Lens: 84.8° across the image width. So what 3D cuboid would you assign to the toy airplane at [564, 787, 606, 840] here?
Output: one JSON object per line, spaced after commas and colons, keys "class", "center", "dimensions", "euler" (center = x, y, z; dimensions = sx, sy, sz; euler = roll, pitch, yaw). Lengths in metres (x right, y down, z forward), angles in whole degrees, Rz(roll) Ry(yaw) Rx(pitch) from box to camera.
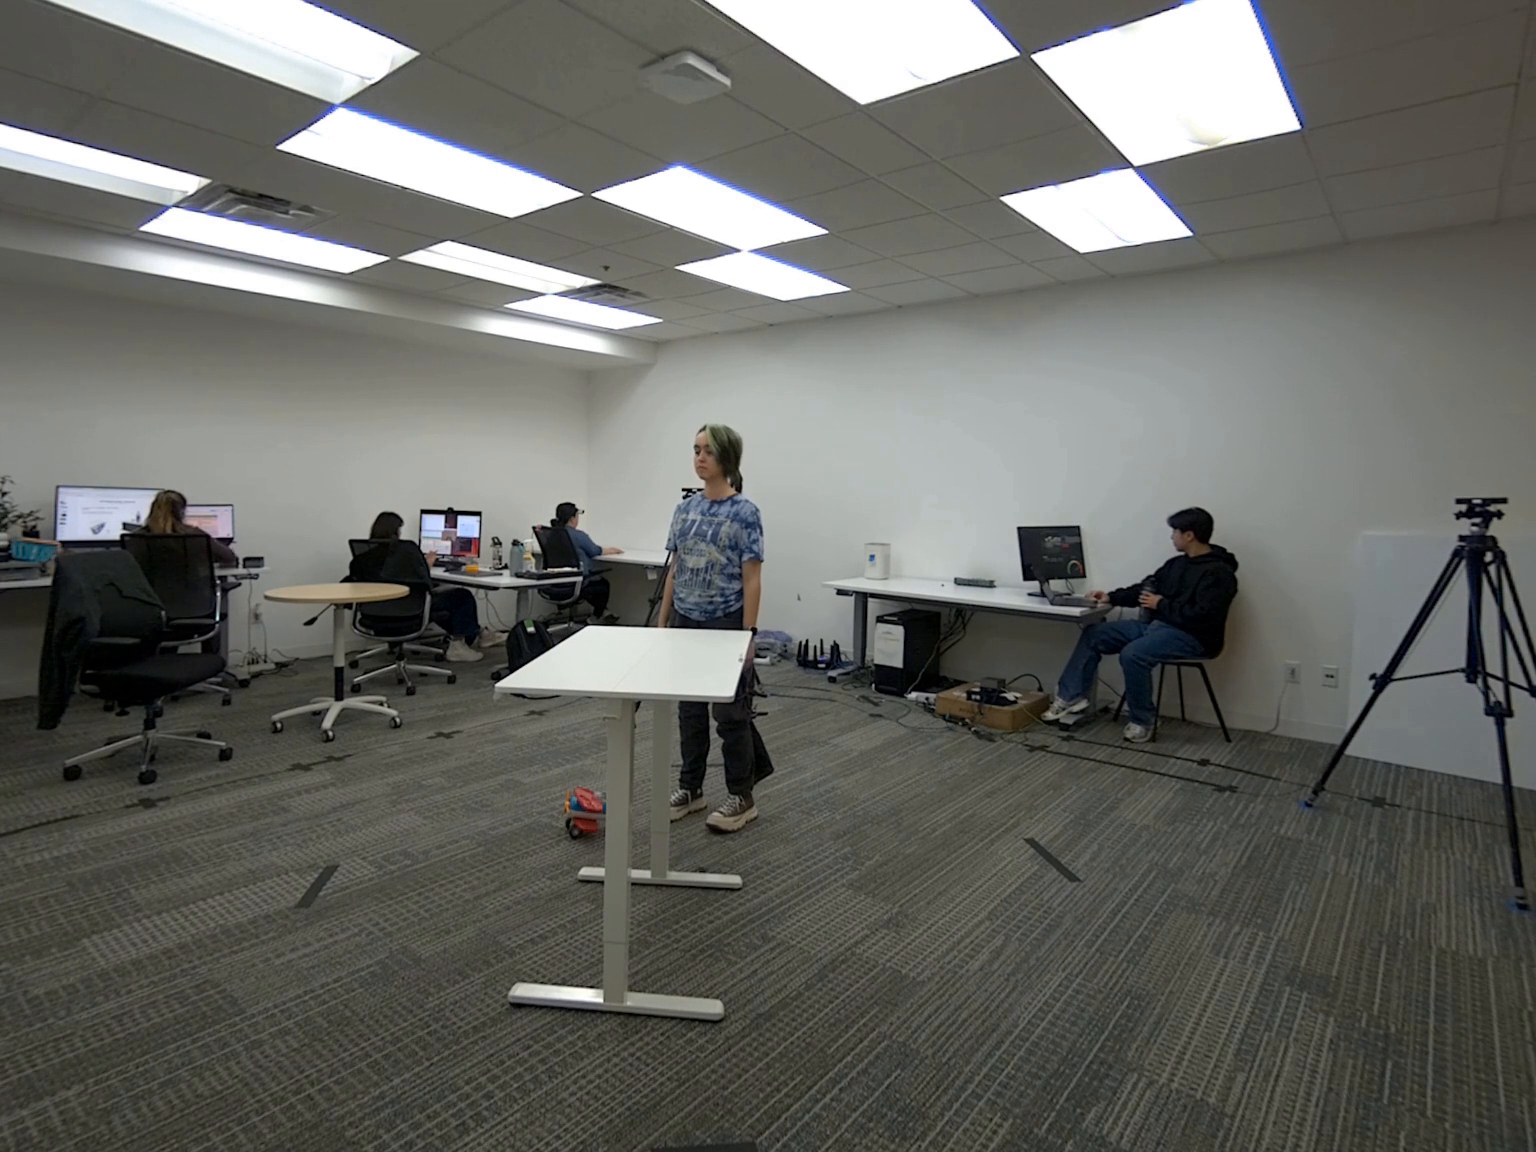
{"class": "toy airplane", "center": [-0.719, 0.957, 3.454], "dimensions": [0.260, 0.156, 0.251], "euler": [5, 6, 41]}
